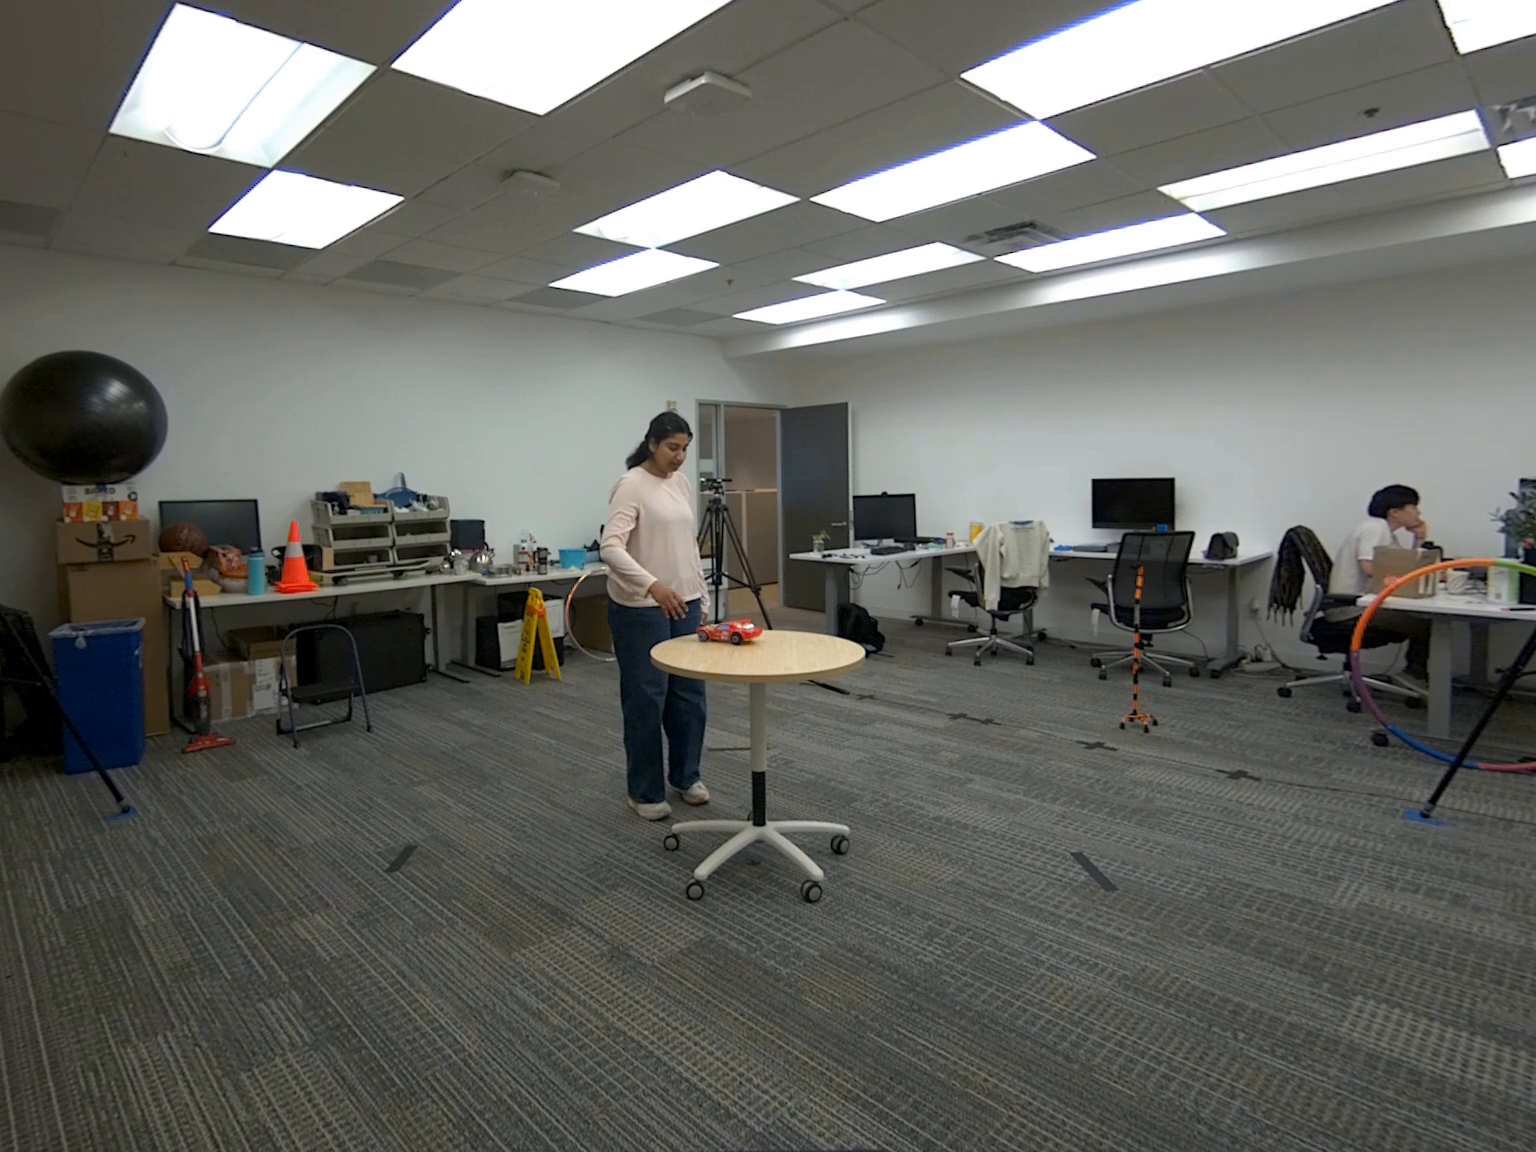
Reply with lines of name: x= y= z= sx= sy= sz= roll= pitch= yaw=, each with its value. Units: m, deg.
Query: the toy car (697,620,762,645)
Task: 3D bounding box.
toy car: x=-0.132 y=0.218 z=3.211 sx=0.259 sy=0.083 sz=0.128 roll=-9 pitch=2 yaw=28
